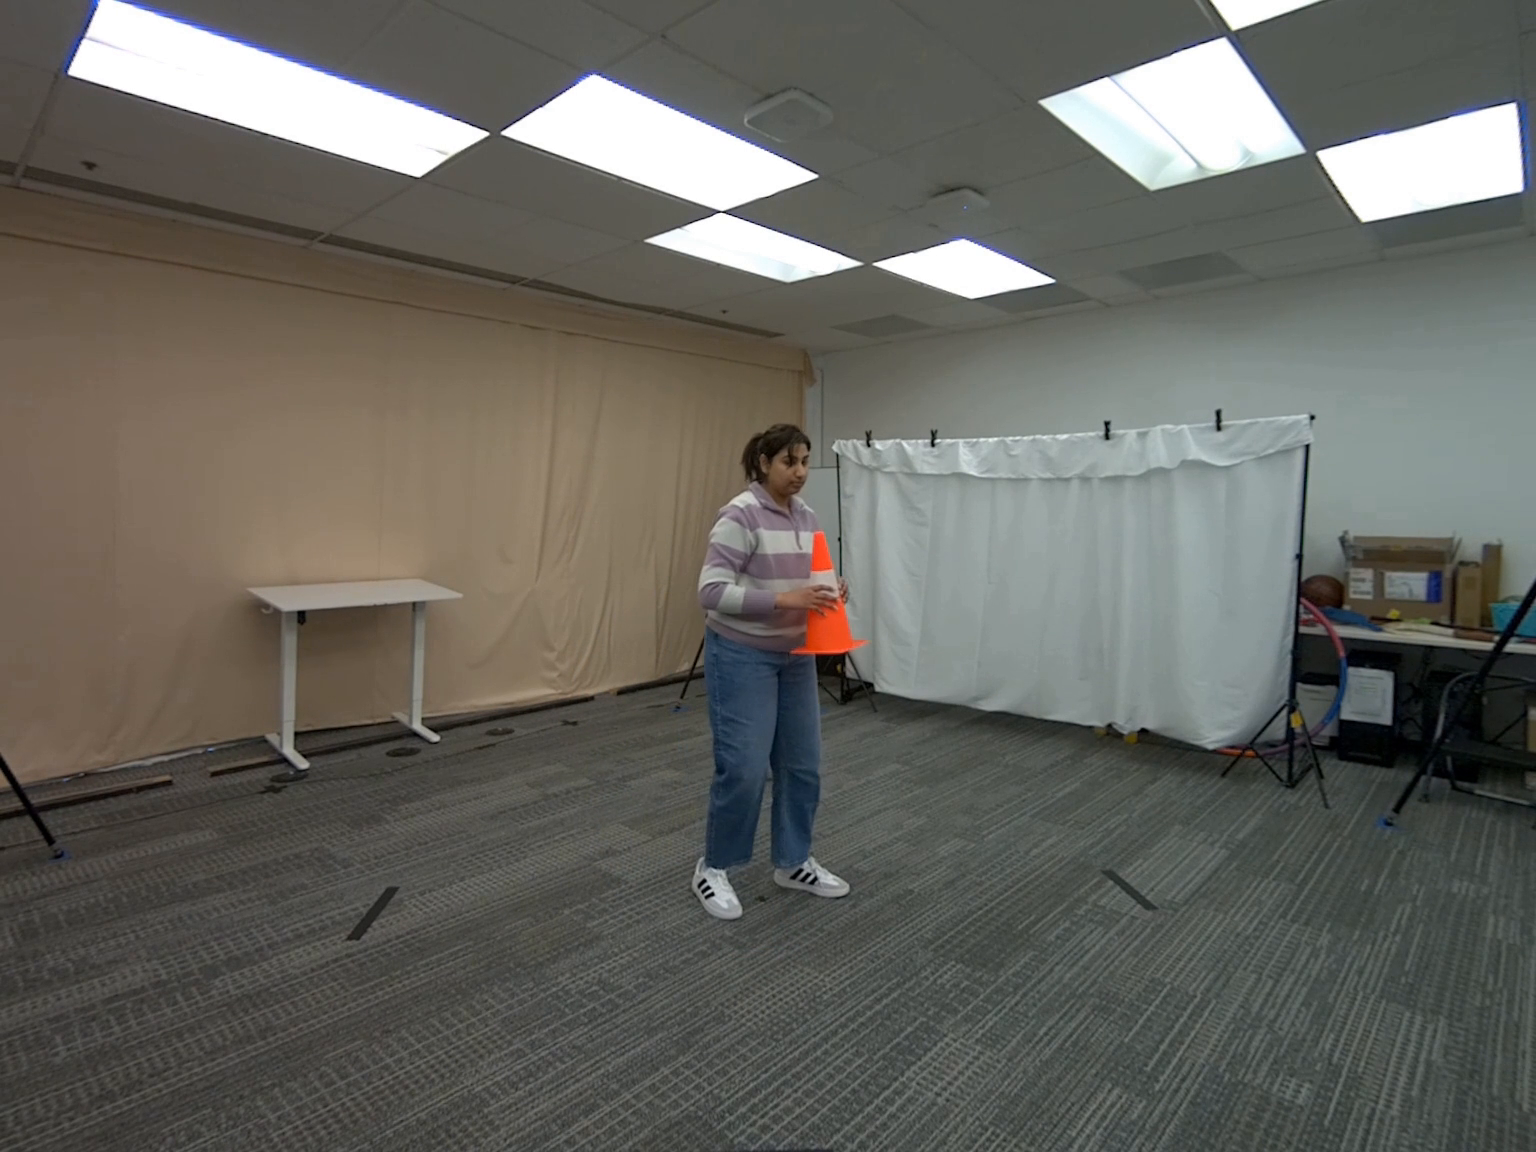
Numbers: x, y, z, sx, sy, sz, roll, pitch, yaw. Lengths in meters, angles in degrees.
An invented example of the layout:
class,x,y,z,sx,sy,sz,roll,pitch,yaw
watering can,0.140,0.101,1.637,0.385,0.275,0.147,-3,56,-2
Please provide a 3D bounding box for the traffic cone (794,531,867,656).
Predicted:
class,x,y,z,sx,sy,sz,roll,pitch,yaw
traffic cone,0.178,0.048,2.751,0.209,0.382,0.200,-2,7,33
